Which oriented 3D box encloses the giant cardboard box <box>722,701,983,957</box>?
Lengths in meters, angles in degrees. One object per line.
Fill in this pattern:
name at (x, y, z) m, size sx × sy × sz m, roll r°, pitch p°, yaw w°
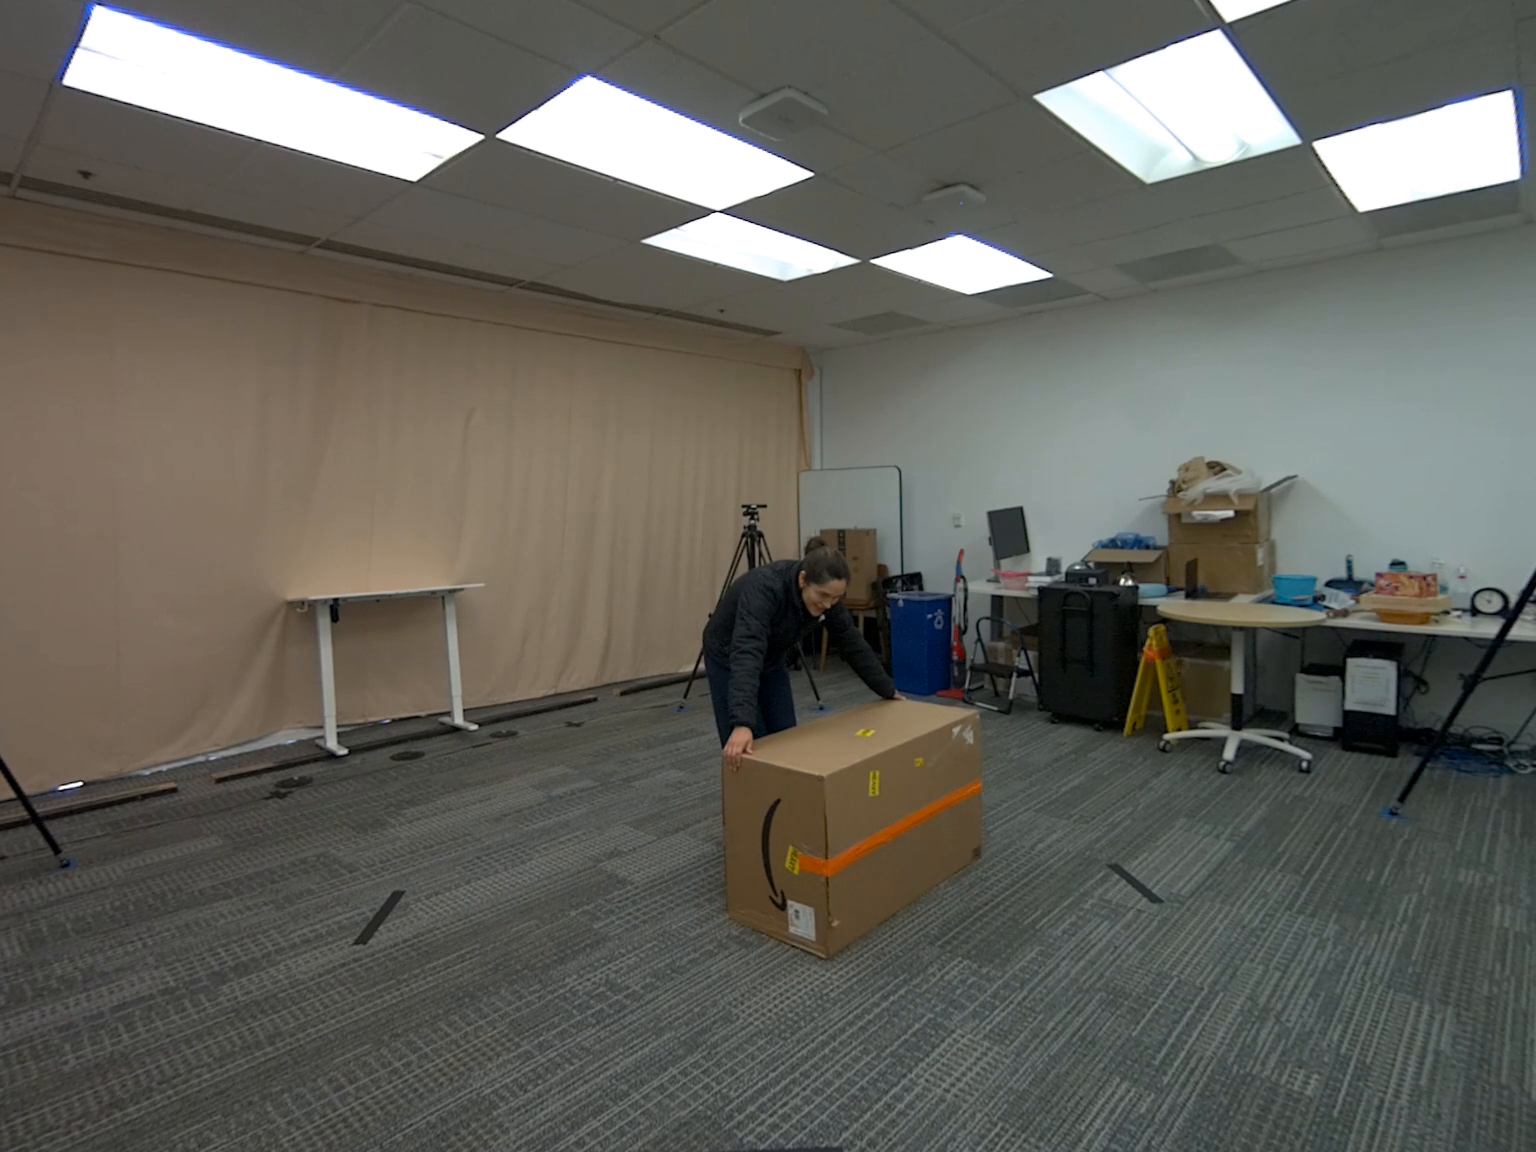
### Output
giant cardboard box at (0.357, 0.842, 3.059) m, size 0.461 × 0.582 × 0.996 m, roll 3°, pitch 6°, yaw 41°
